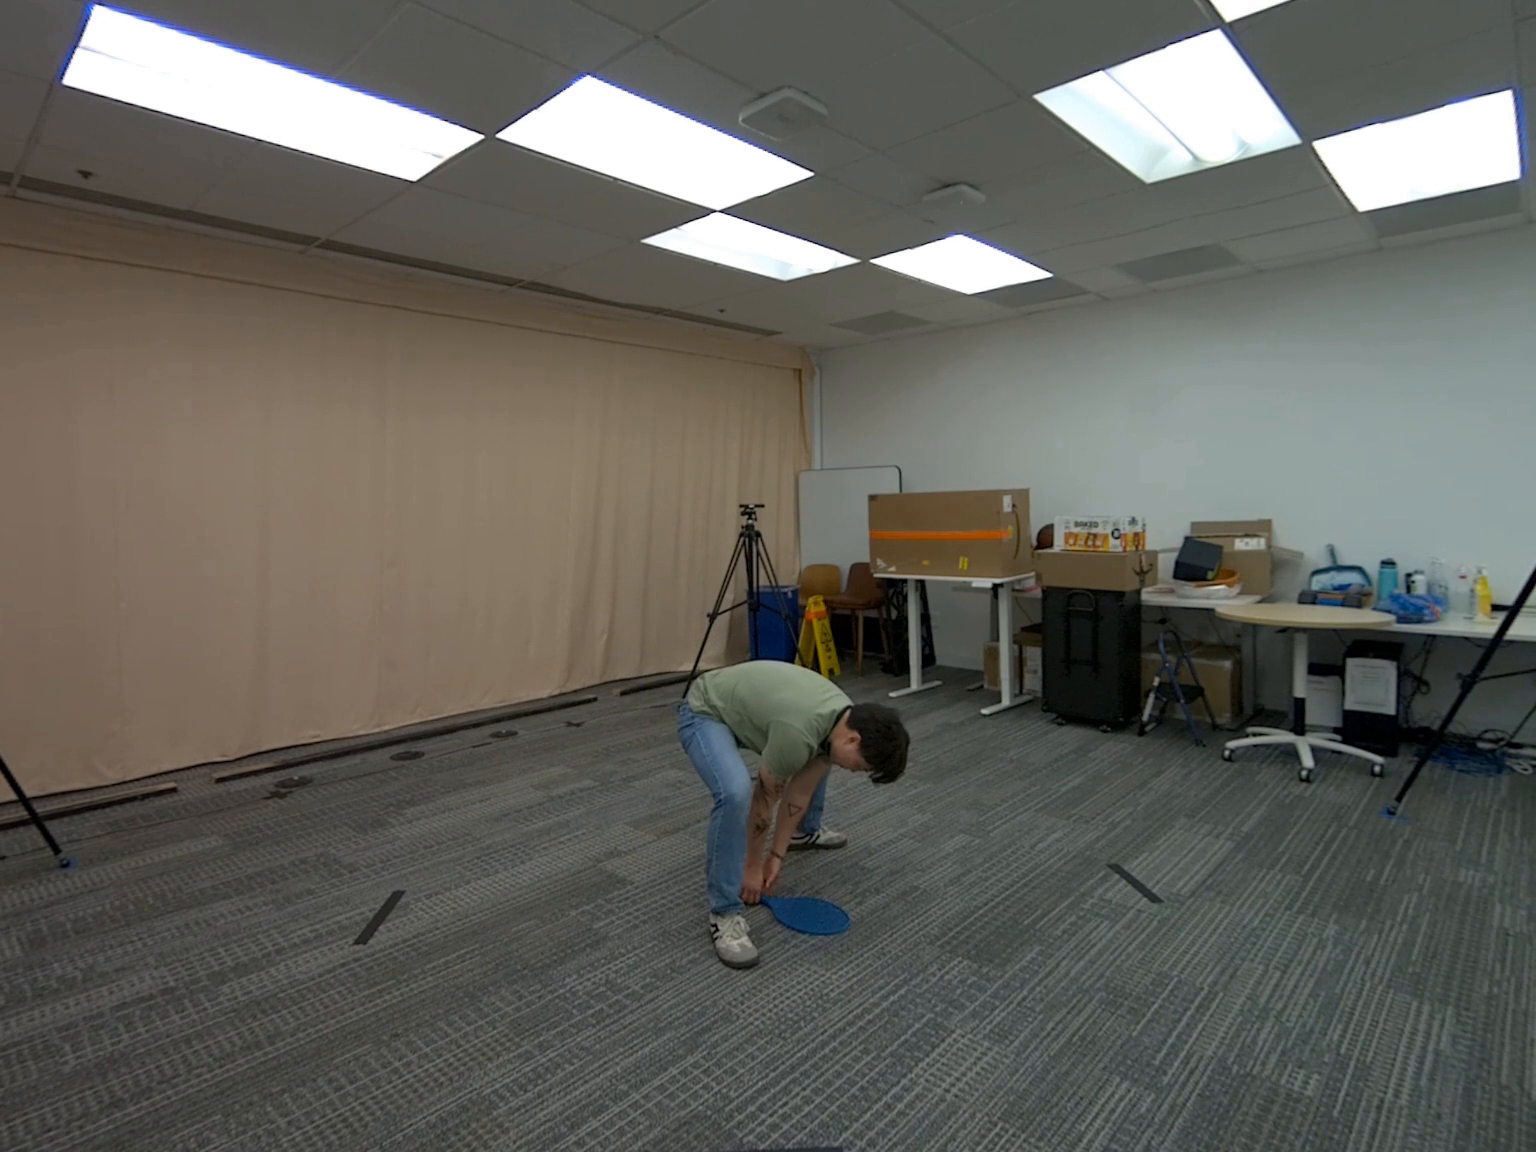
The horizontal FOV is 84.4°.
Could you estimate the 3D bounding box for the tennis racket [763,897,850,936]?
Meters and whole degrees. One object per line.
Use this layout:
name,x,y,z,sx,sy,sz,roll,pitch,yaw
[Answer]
tennis racket,0.097,1.122,2.866,0.447,0.031,0.208,6,8,34
